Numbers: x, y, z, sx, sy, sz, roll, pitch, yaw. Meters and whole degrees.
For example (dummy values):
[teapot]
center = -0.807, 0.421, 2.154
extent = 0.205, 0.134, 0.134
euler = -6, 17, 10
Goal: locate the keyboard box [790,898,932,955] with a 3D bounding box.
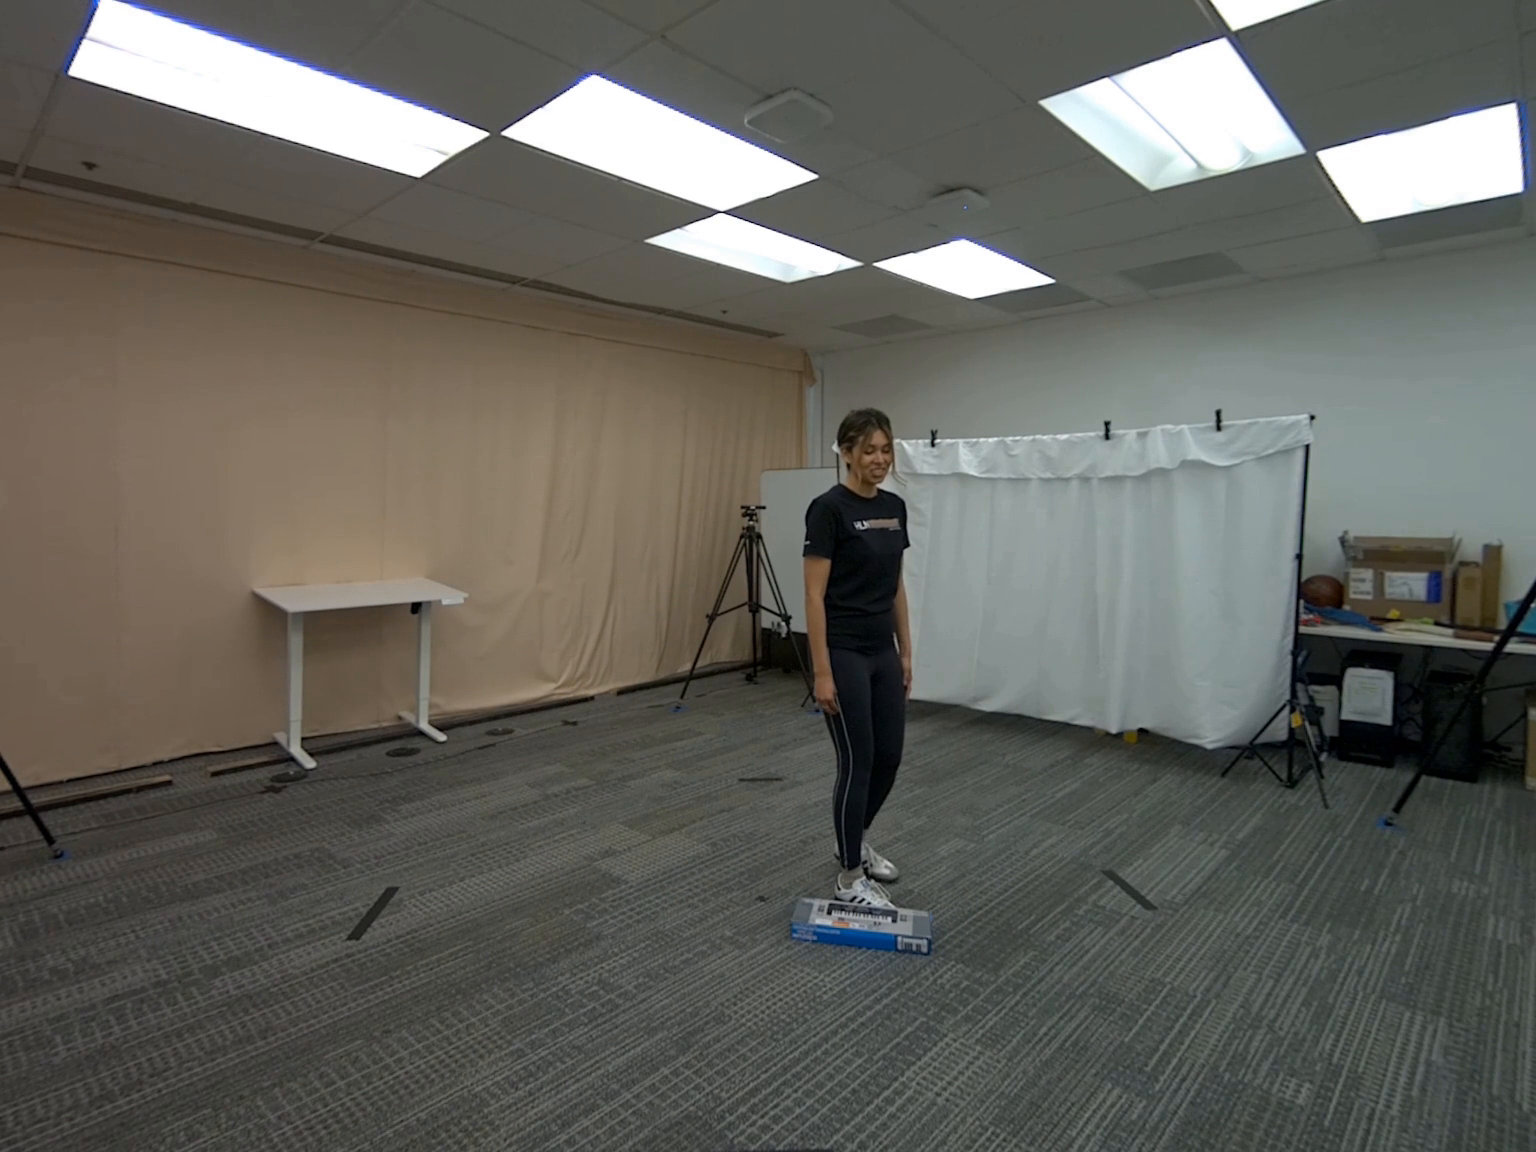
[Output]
[keyboard box]
center = 0.309, 1.134, 2.731
extent = 0.444, 0.059, 0.174
euler = 1, 5, 14
